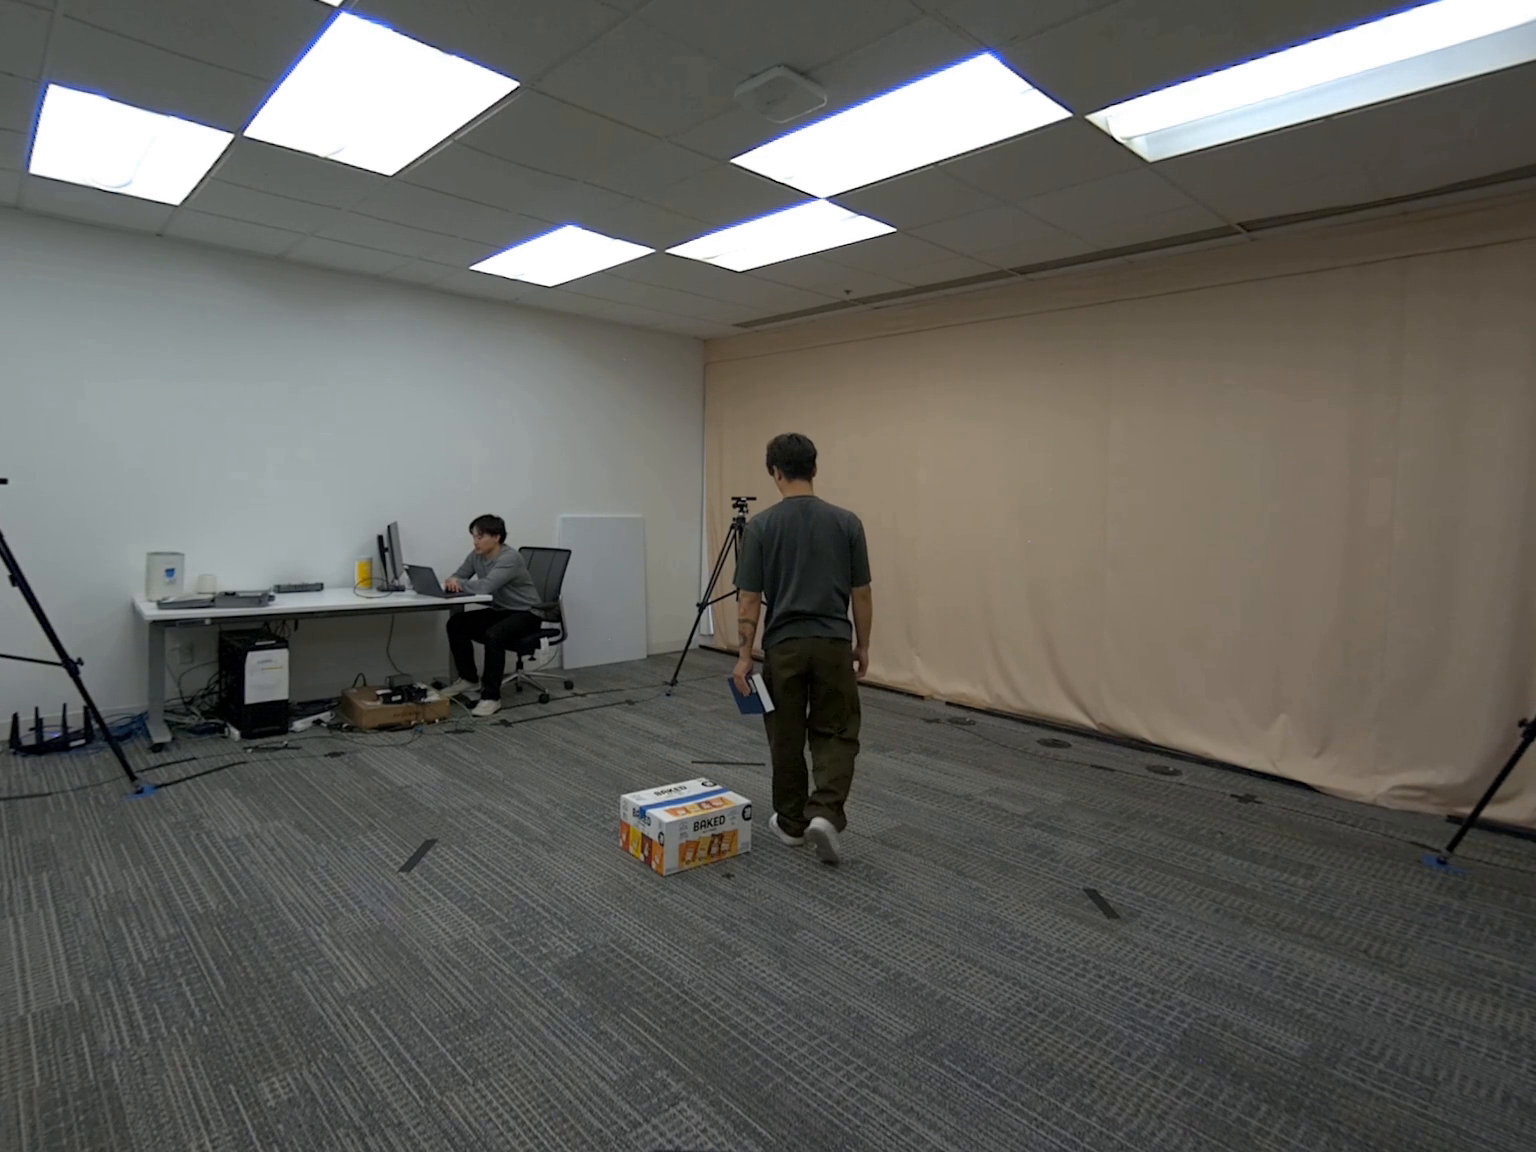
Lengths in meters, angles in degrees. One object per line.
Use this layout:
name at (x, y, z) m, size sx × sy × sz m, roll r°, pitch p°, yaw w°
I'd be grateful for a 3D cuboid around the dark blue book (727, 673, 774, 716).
dark blue book at (-0.076, 0.469, 3.381) m, size 0.044 × 0.164 × 0.248 m, roll -17°, pitch -2°, yaw -27°
